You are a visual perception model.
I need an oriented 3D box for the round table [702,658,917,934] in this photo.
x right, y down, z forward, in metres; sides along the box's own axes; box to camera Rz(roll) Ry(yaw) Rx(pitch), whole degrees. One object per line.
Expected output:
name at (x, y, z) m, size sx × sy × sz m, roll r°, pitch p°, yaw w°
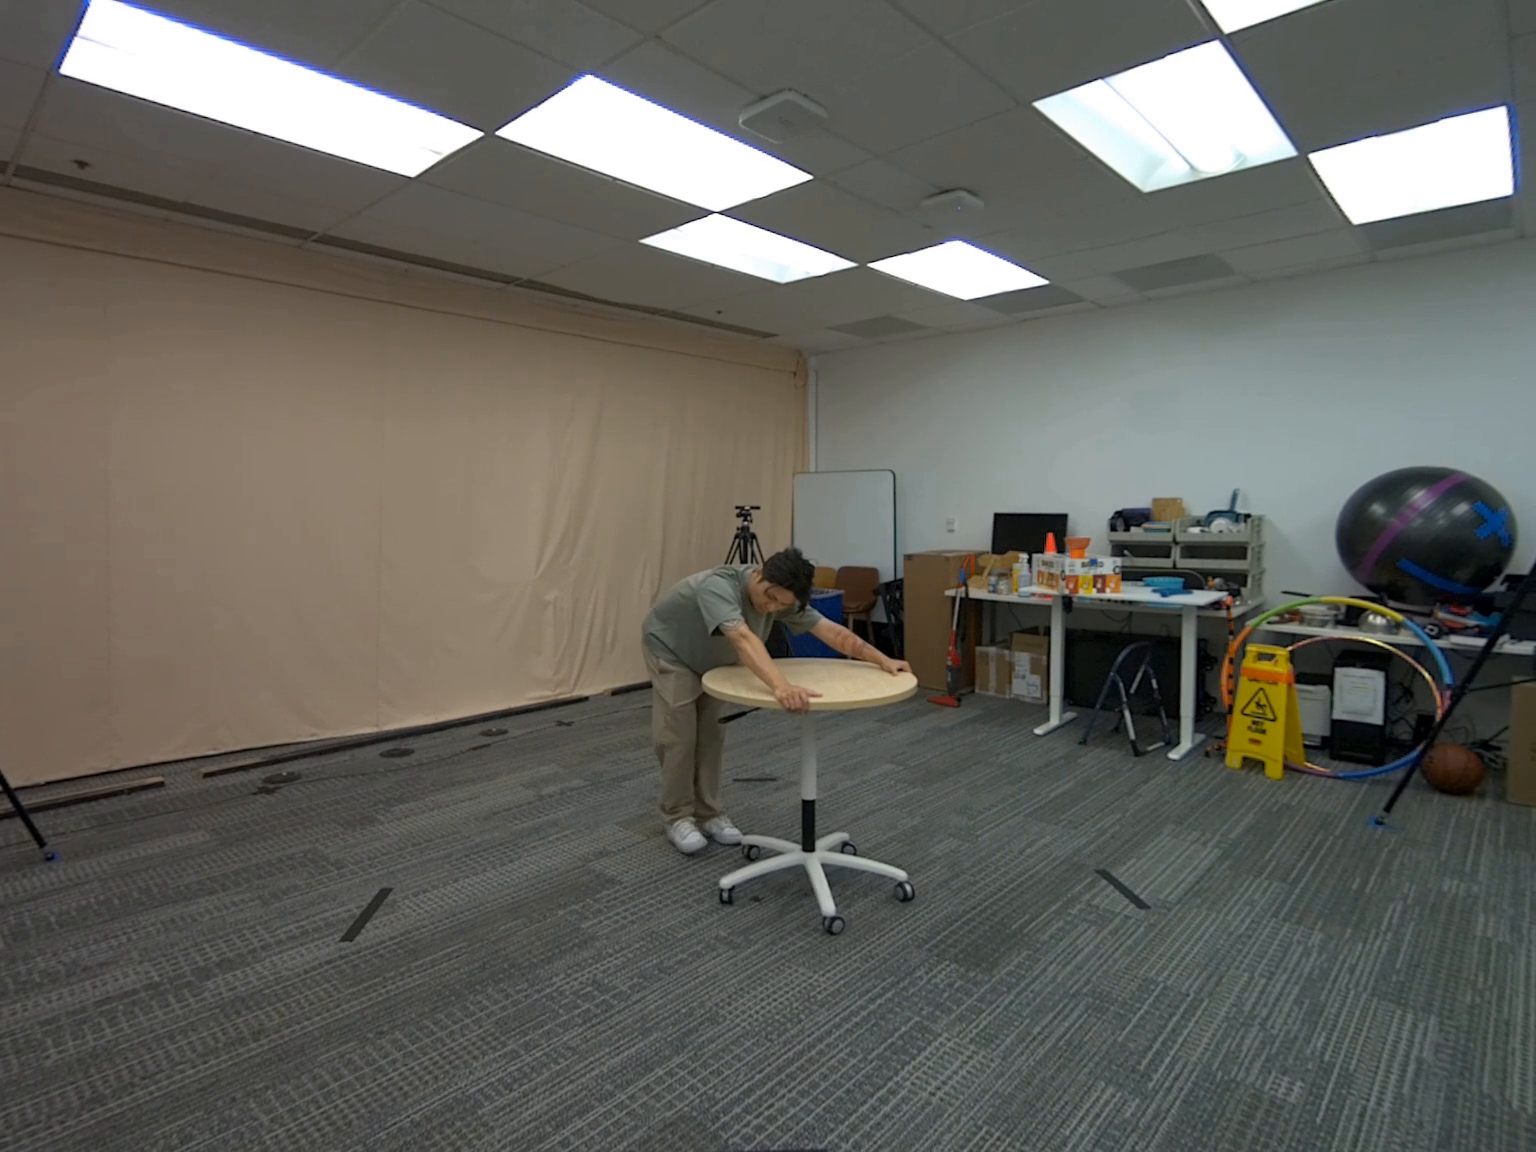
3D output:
round table at (0.173, 0.749, 3.054) m, size 0.784 × 0.785 × 0.788 m, roll 0°, pitch 4°, yaw -2°
